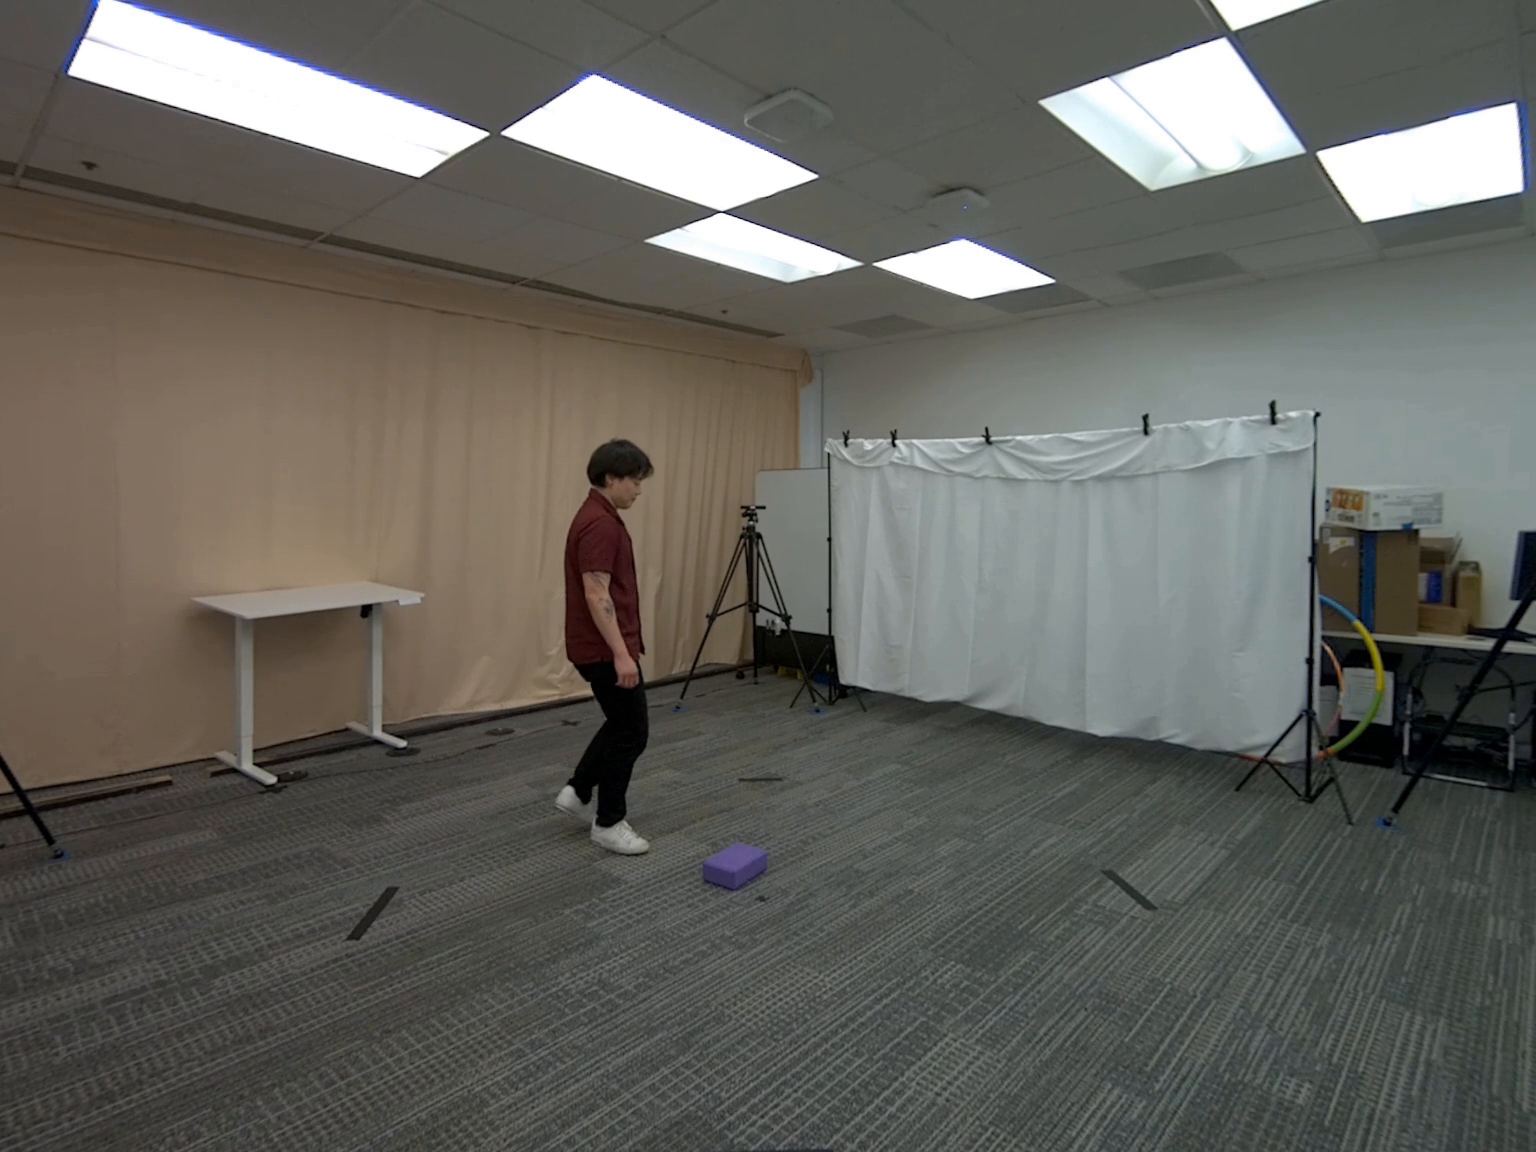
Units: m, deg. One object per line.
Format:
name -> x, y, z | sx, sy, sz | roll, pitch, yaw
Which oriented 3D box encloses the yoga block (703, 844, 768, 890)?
yoga block -> -0.120, 1.088, 3.170 | 0.153, 0.076, 0.223 | 3, 6, 34
